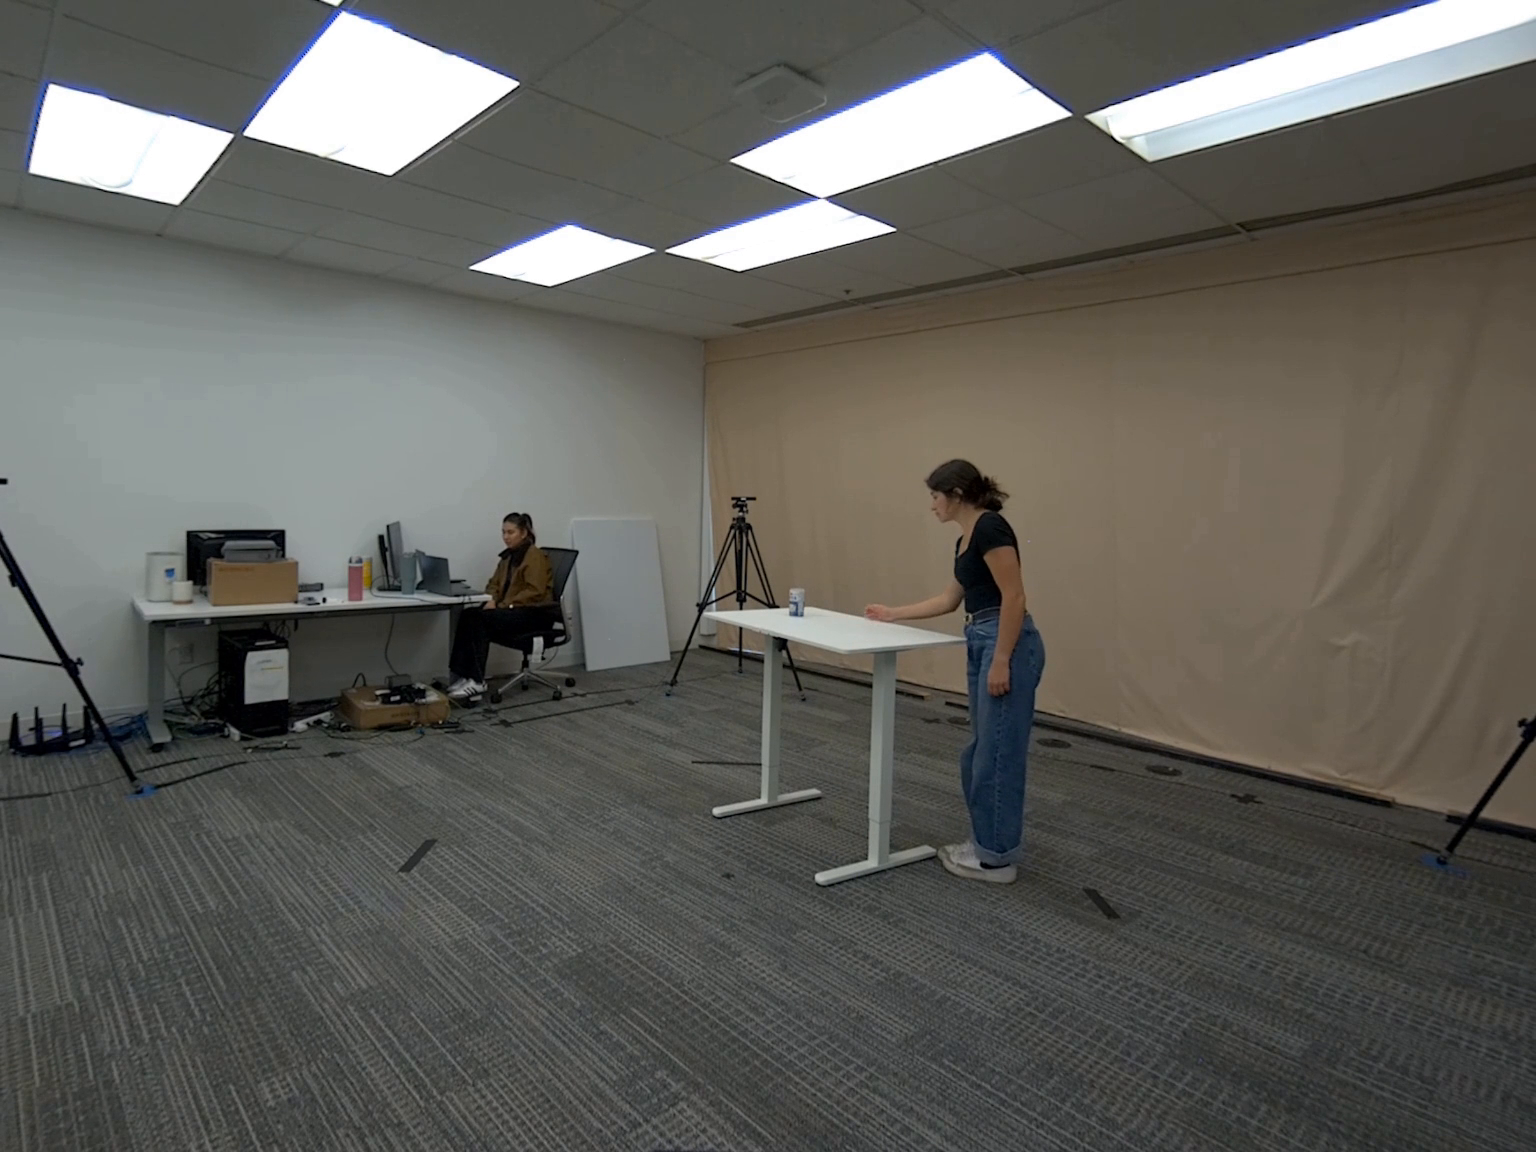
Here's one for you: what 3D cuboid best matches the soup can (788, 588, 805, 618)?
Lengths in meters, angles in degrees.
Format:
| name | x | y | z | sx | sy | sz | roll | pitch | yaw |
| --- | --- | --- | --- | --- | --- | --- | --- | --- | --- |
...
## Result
| name | x | y | z | sx | sy | sz | roll | pitch | yaw |
| --- | --- | --- | --- | --- | --- | --- | --- | --- | --- |
| soup can | 0.117 | 0.115 | 3.723 | 0.067 | 0.121 | 0.067 | 1 | 7 | -2 |
